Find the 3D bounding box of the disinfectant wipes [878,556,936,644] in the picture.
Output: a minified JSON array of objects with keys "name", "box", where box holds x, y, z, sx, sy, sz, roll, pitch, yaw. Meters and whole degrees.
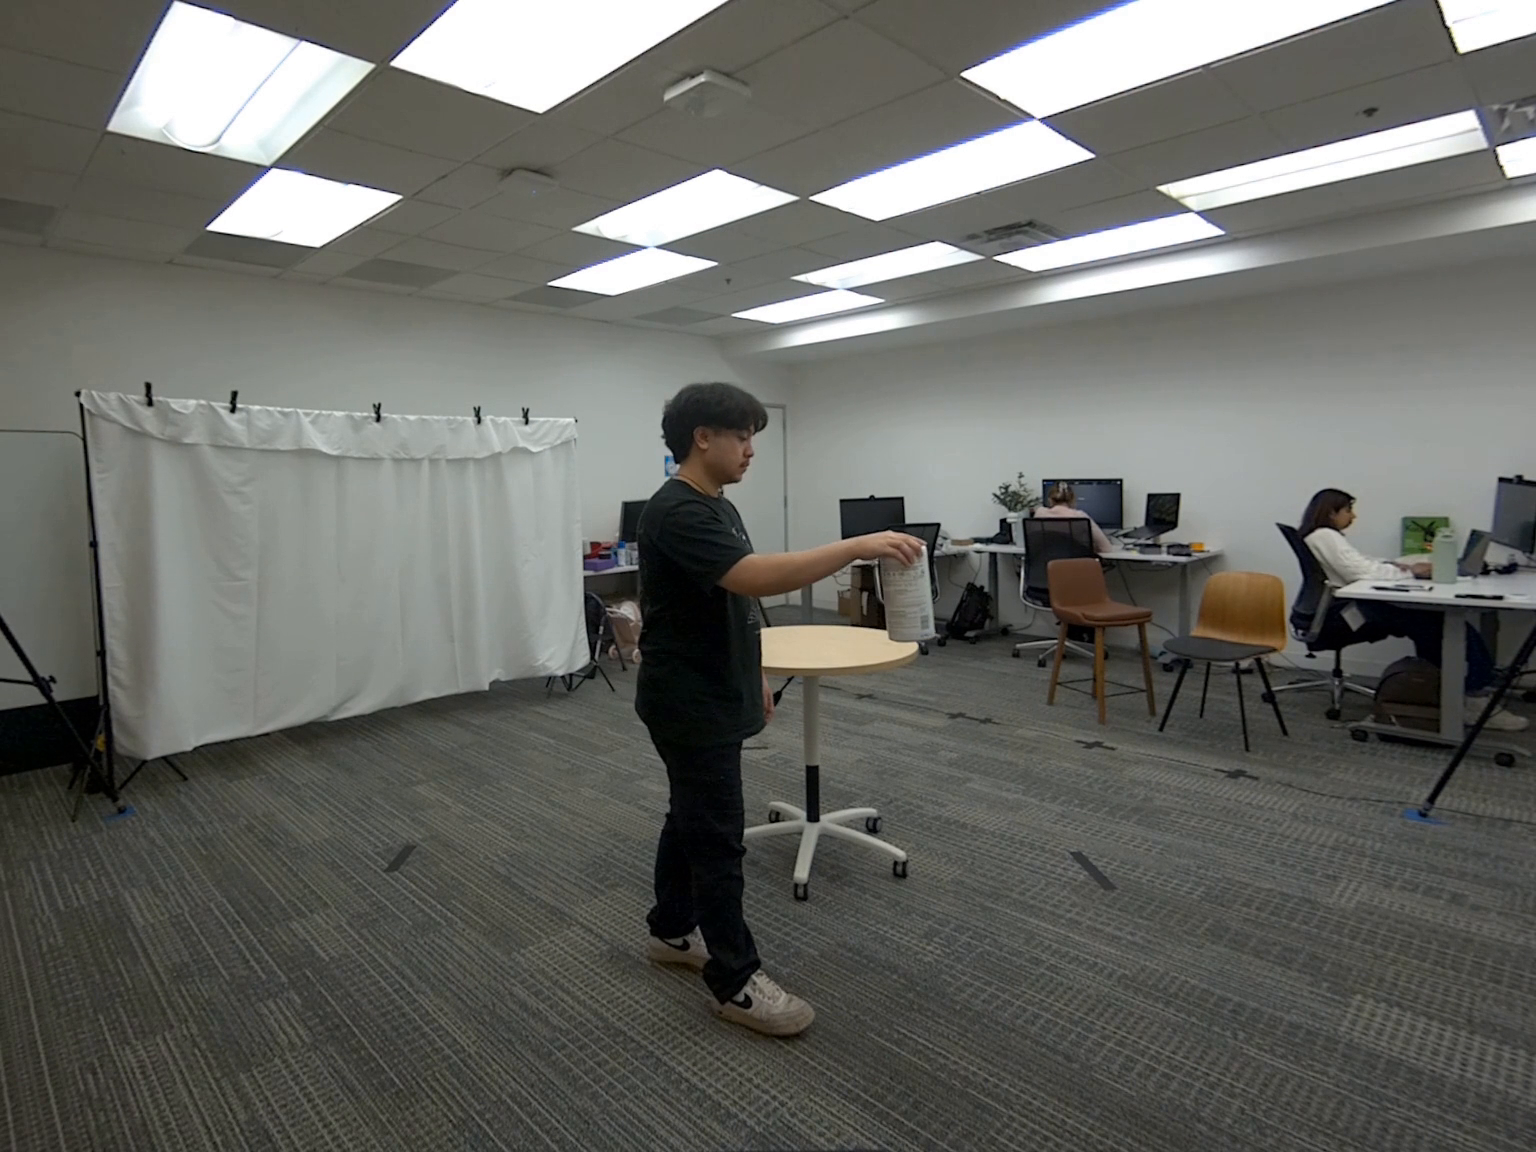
[{"name":"disinfectant wipes","box":[0.327,0.040,1.988,0.118,0.217,0.118,-5,3,-1]}]
